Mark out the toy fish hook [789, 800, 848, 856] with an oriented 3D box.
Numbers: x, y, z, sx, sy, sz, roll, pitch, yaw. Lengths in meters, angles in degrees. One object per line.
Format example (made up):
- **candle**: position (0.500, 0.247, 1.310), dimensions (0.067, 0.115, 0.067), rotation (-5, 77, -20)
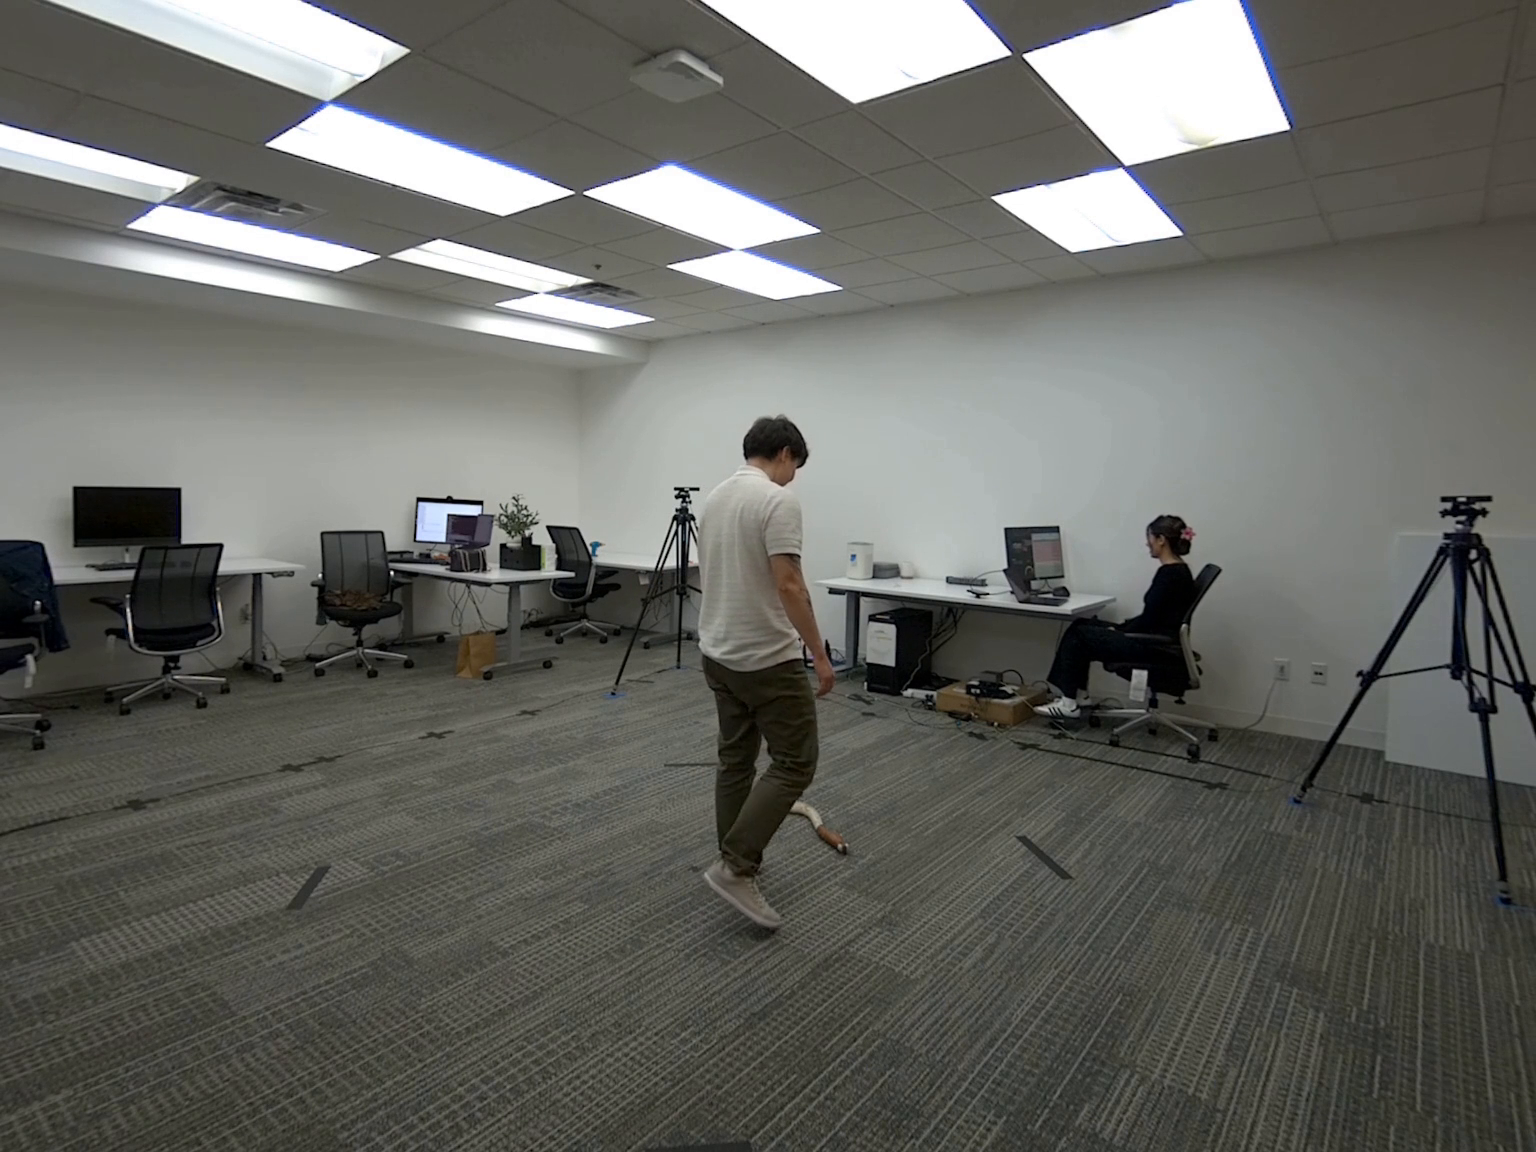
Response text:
- **toy fish hook**: position (0.142, 1.022, 3.466), dimensions (0.221, 0.048, 0.519), rotation (-9, 9, -21)
